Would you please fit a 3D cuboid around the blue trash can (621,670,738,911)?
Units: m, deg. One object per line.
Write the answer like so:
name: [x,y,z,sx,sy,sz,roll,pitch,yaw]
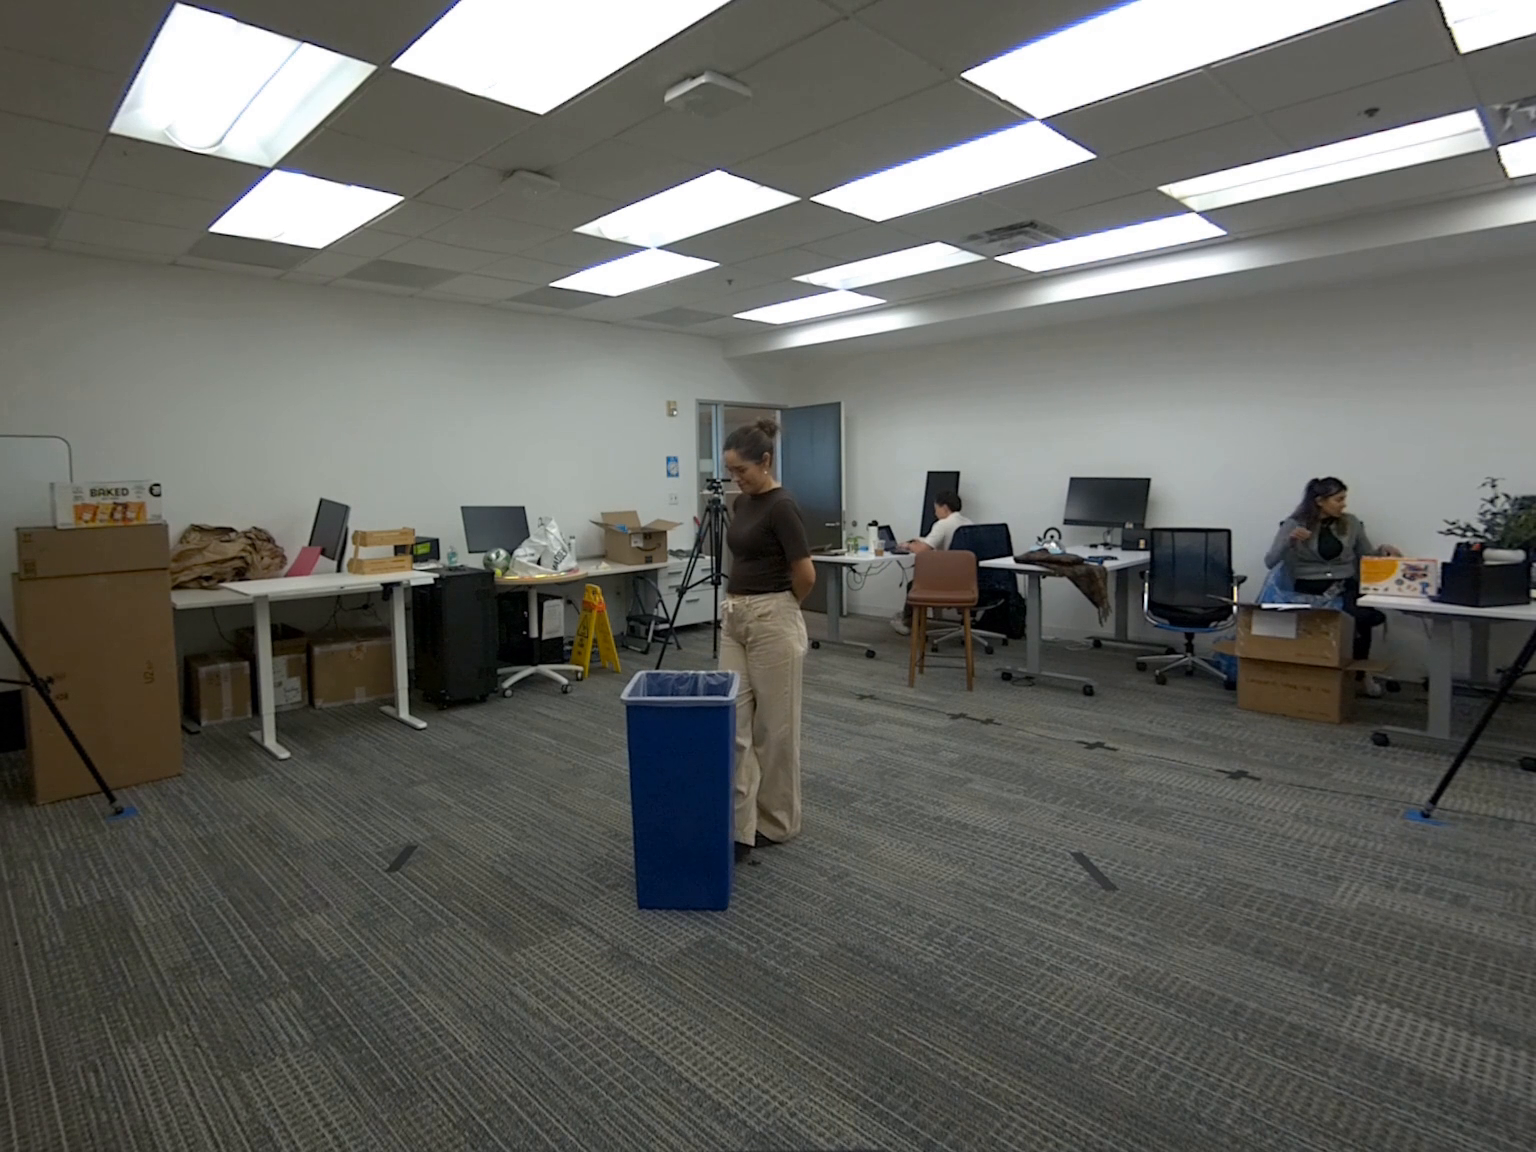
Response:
blue trash can: [-0.287,0.713,2.896,0.375,0.710,0.379,0,5,1]
